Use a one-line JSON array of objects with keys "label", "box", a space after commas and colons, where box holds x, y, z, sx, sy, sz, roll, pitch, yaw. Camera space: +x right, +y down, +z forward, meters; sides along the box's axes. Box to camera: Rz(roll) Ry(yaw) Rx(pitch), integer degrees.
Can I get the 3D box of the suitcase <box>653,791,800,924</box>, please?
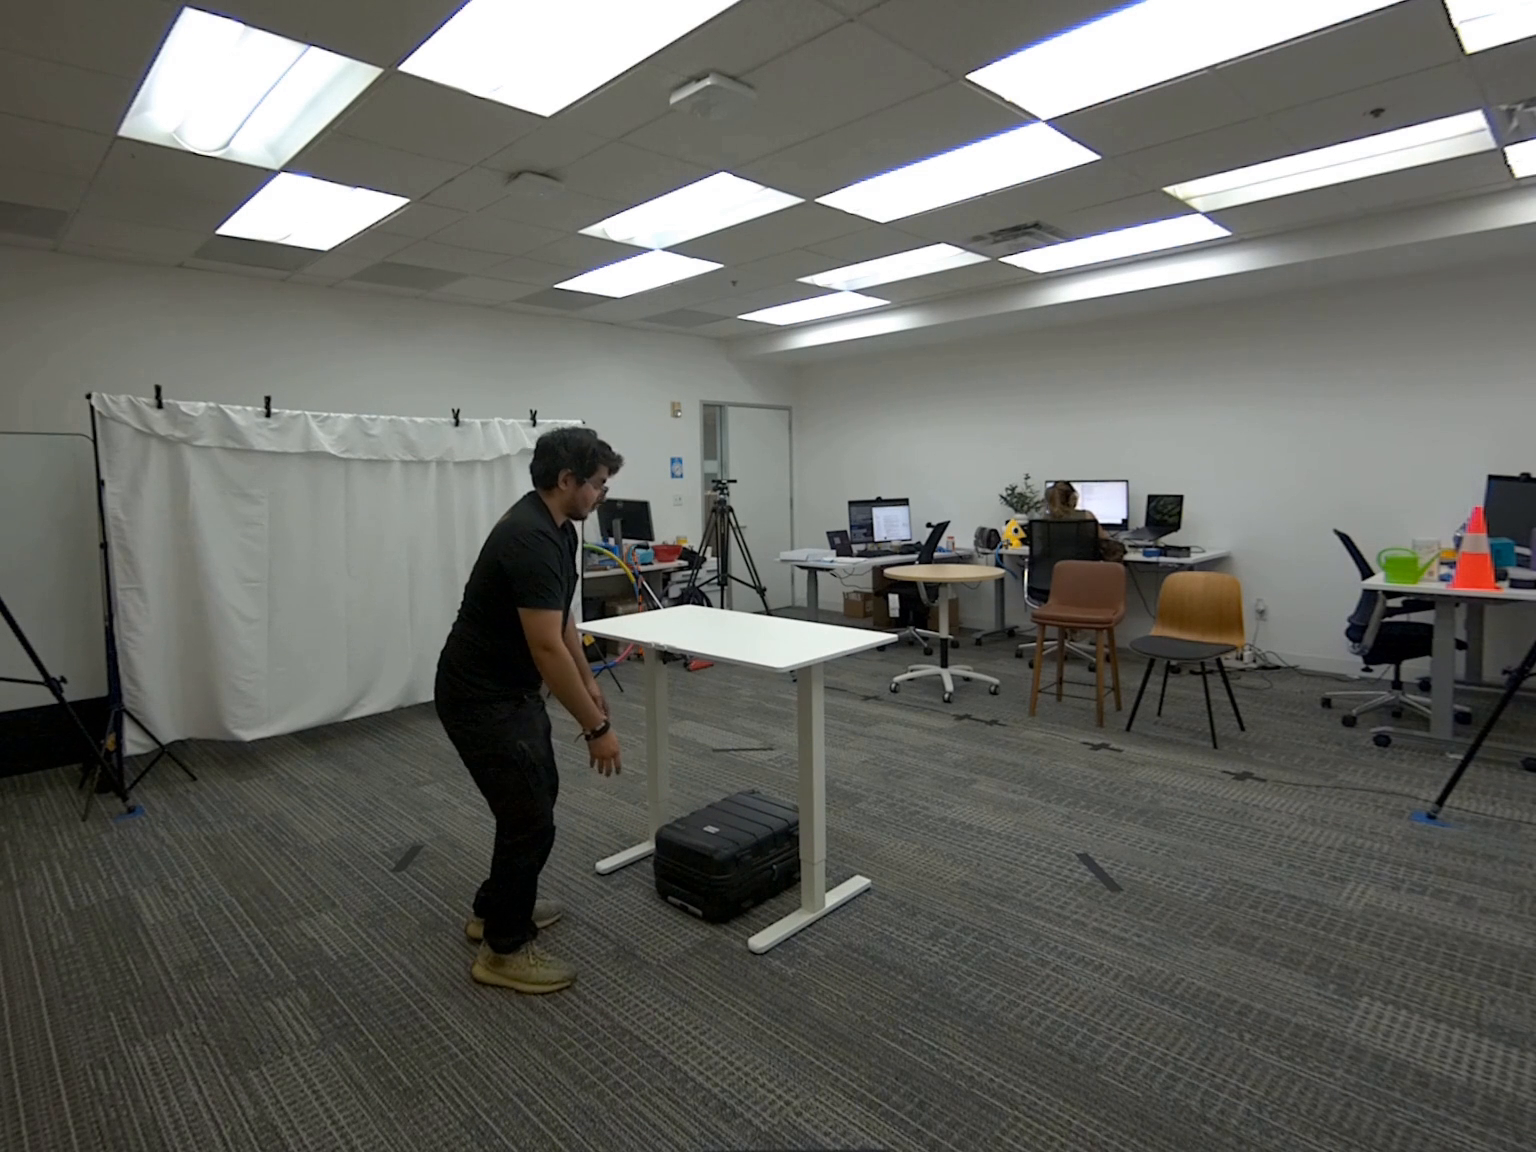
[{"label": "suitcase", "box": [-0.108, 0.951, 2.947, 0.387, 0.247, 0.535, 5, 8, 42]}]
